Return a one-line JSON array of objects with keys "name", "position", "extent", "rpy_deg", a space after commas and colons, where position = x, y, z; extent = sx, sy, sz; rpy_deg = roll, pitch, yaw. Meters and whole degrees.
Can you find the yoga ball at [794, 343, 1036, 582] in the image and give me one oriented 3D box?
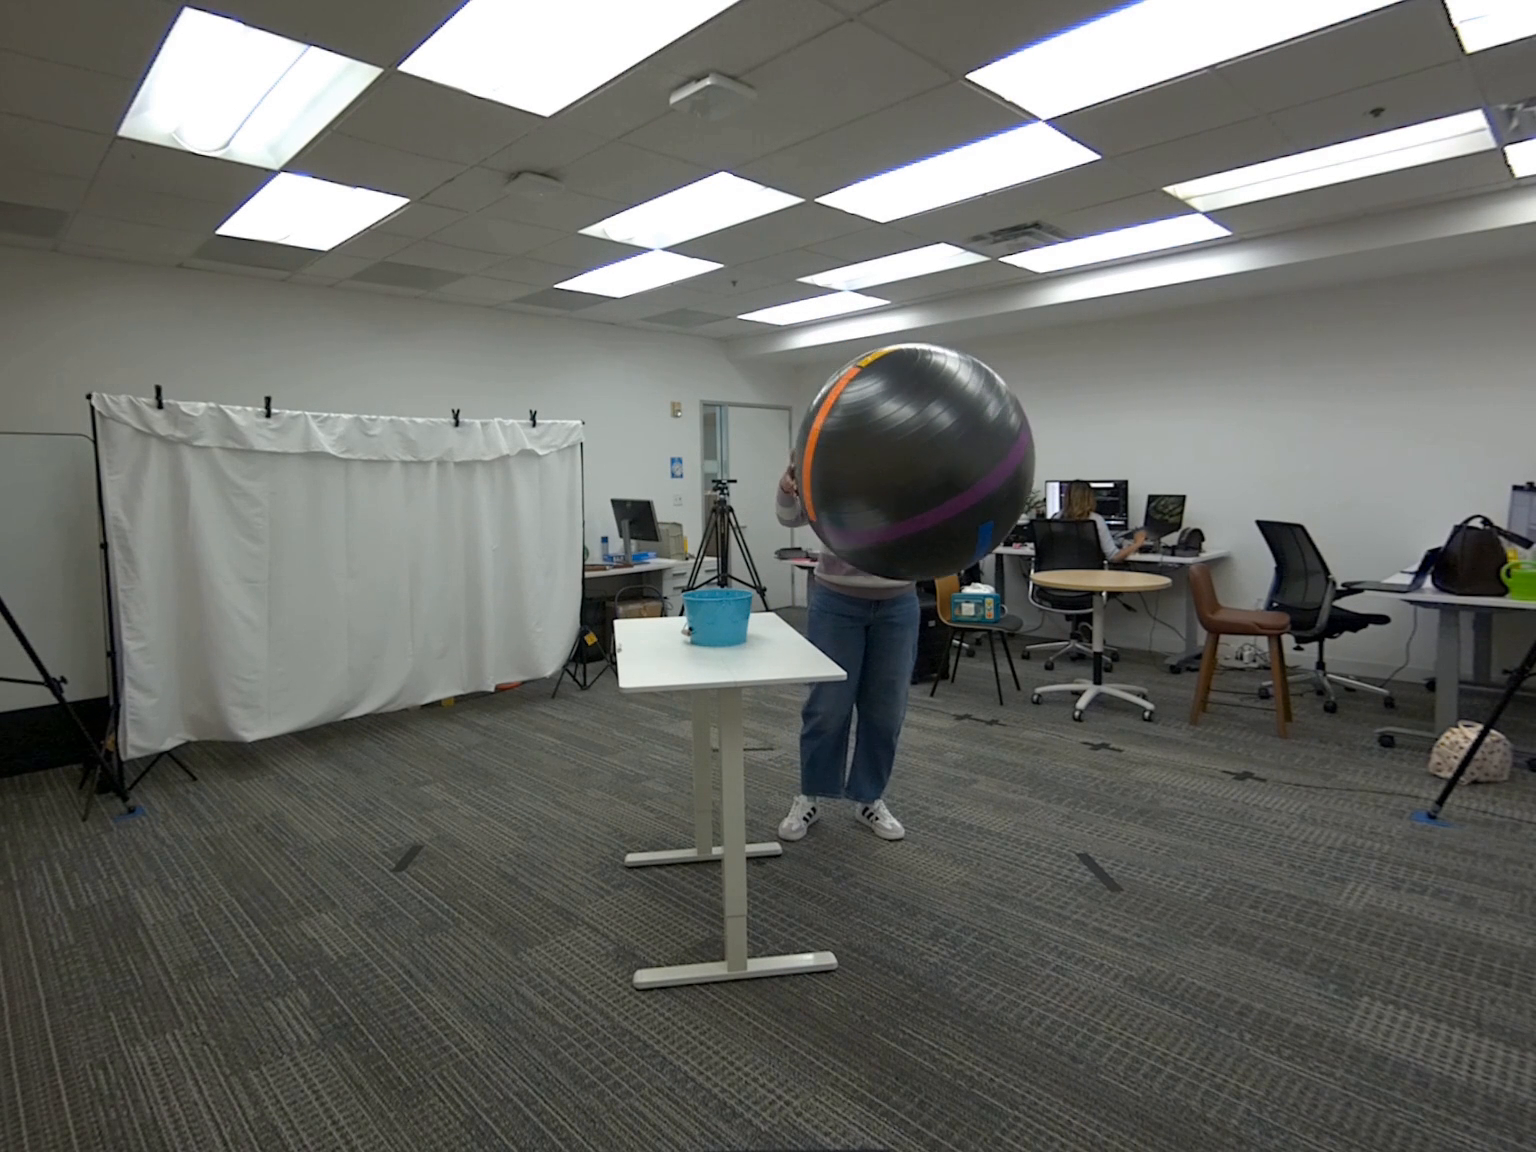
[{"name": "yoga ball", "position": [0.467, -0.353, 2.752], "extent": [0.757, 0.755, 0.762], "rpy_deg": [-1, 5, -2]}]
